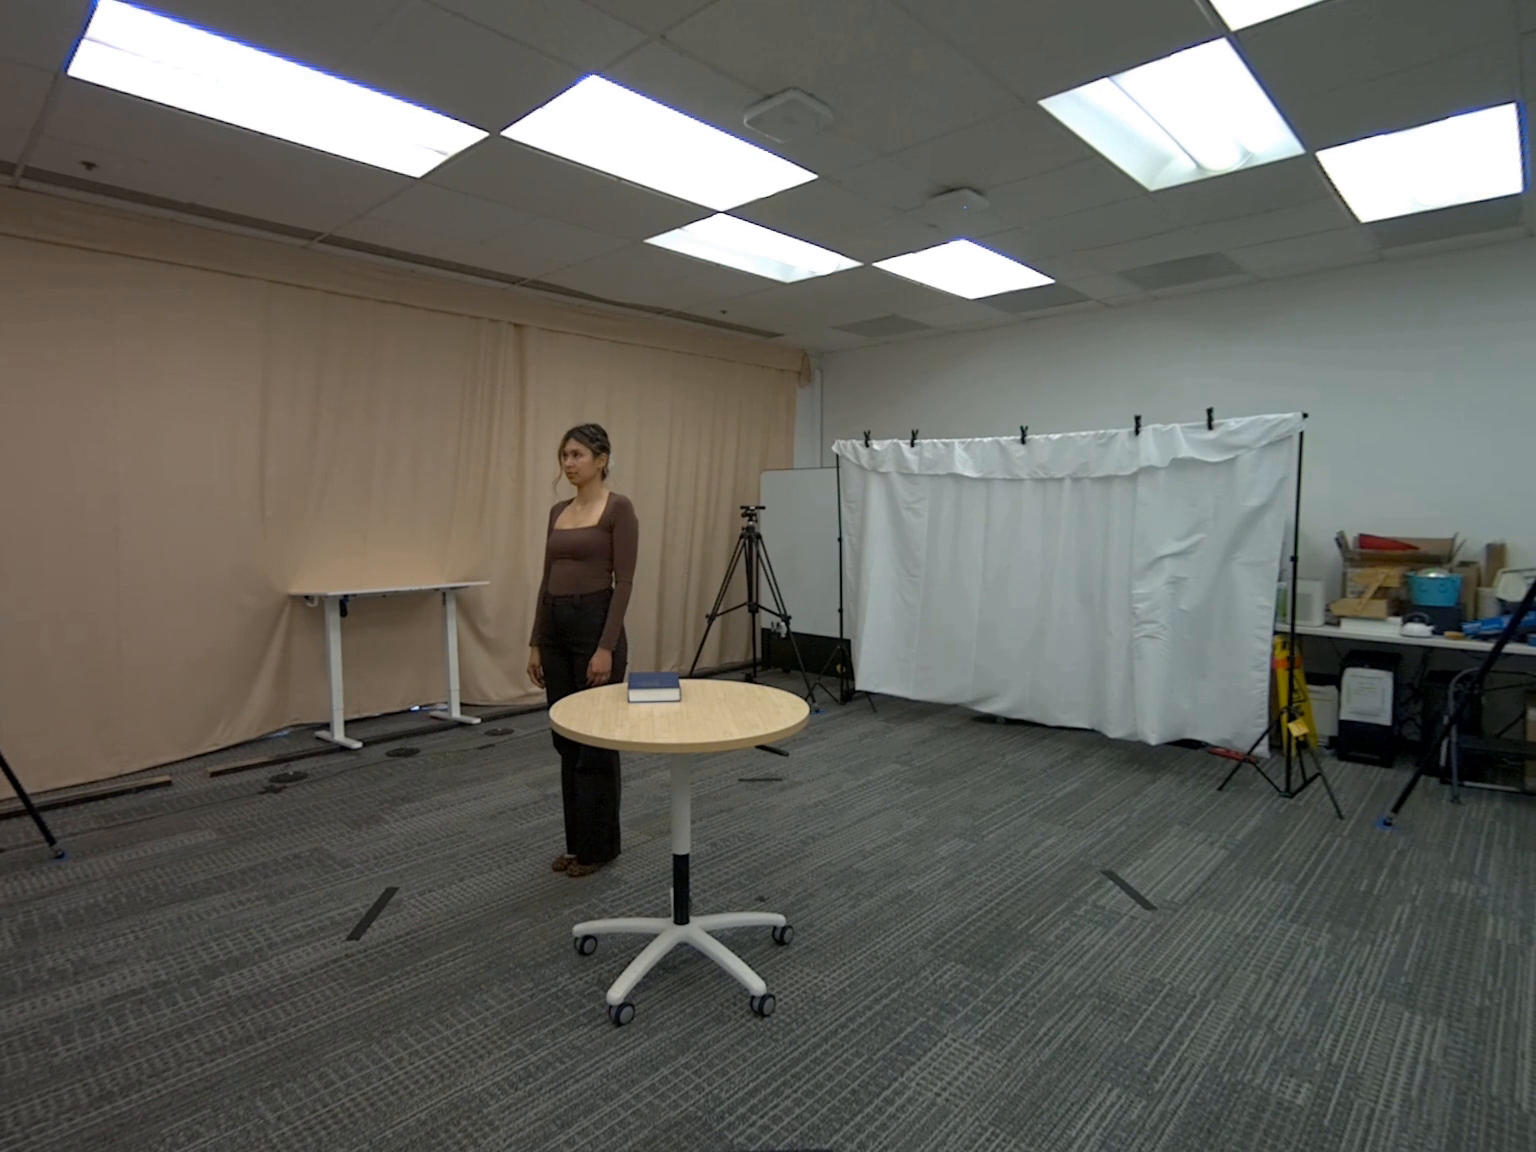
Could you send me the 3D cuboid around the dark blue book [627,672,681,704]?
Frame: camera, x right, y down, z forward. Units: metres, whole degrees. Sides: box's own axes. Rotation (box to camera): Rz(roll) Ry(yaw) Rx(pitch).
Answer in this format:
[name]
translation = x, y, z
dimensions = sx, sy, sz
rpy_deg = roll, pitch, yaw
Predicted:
[dark blue book]
translation = -0.362, 0.352, 2.673
dimensions = 0.162, 0.045, 0.247
rpy_deg = -1, 5, -8
